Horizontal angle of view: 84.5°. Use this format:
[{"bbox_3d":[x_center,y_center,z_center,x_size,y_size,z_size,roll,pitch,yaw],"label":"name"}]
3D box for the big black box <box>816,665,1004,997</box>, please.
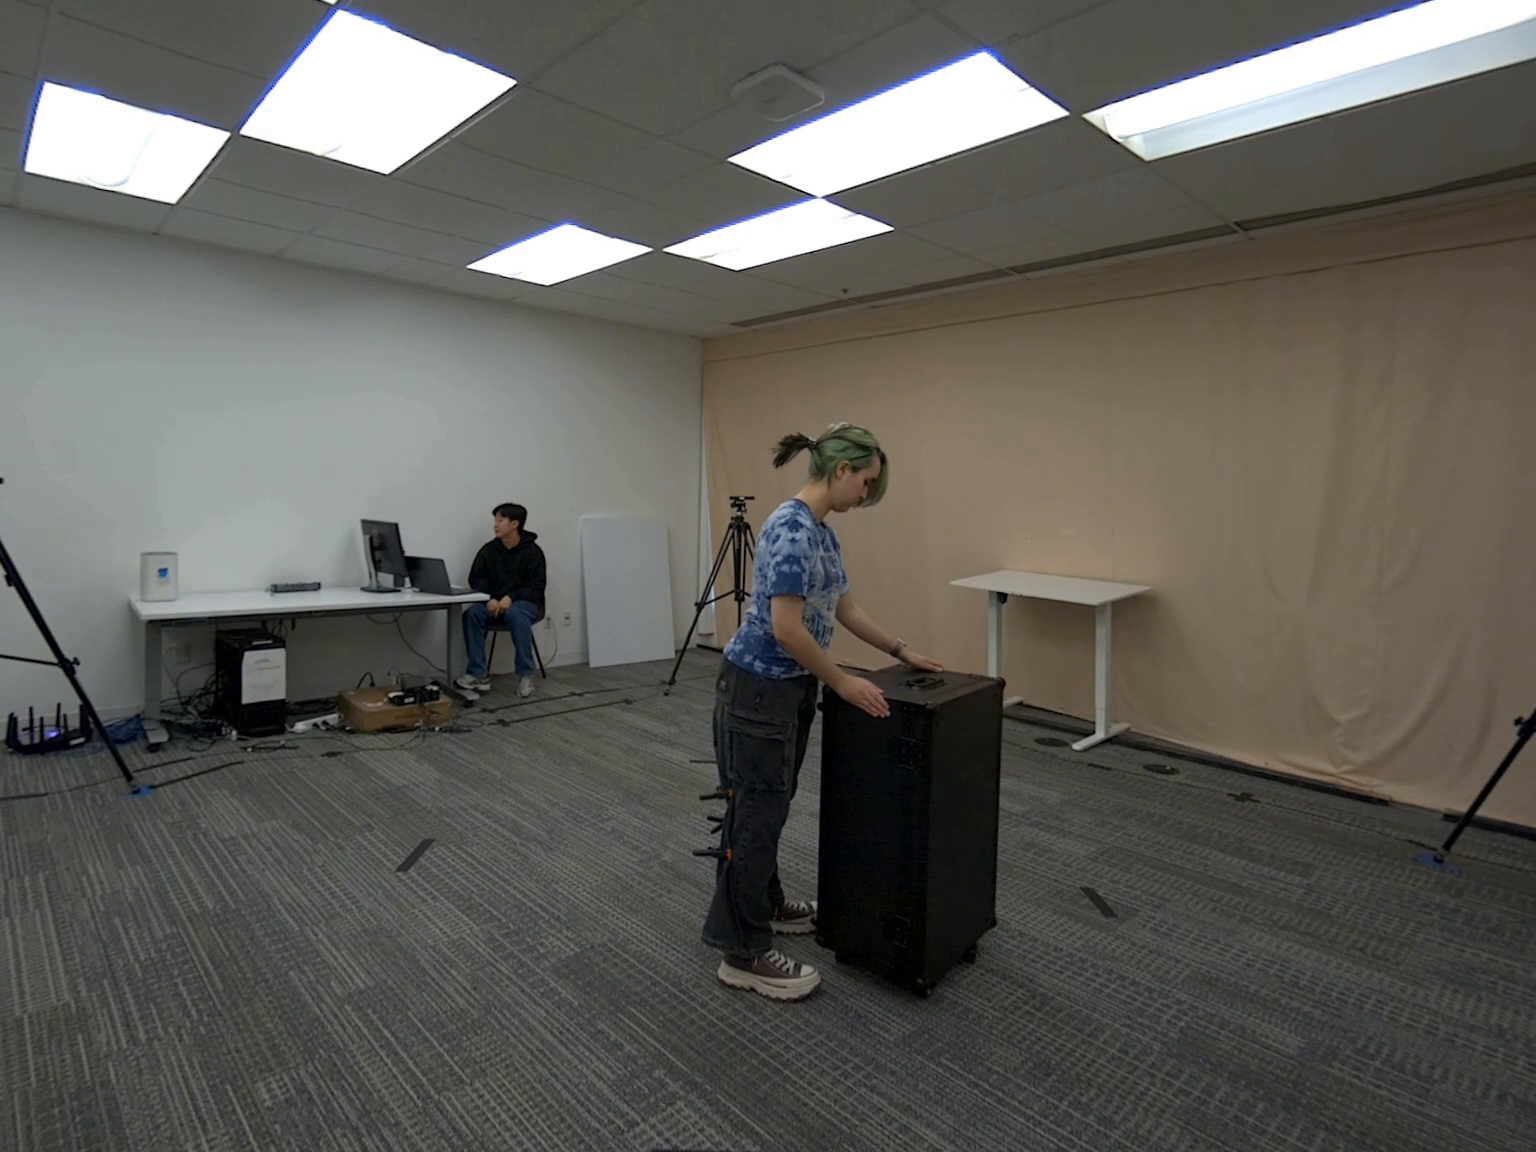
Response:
[{"bbox_3d":[0.421,0.745,2.551,0.406,0.859,0.509,4,5,41],"label":"big black box"}]
